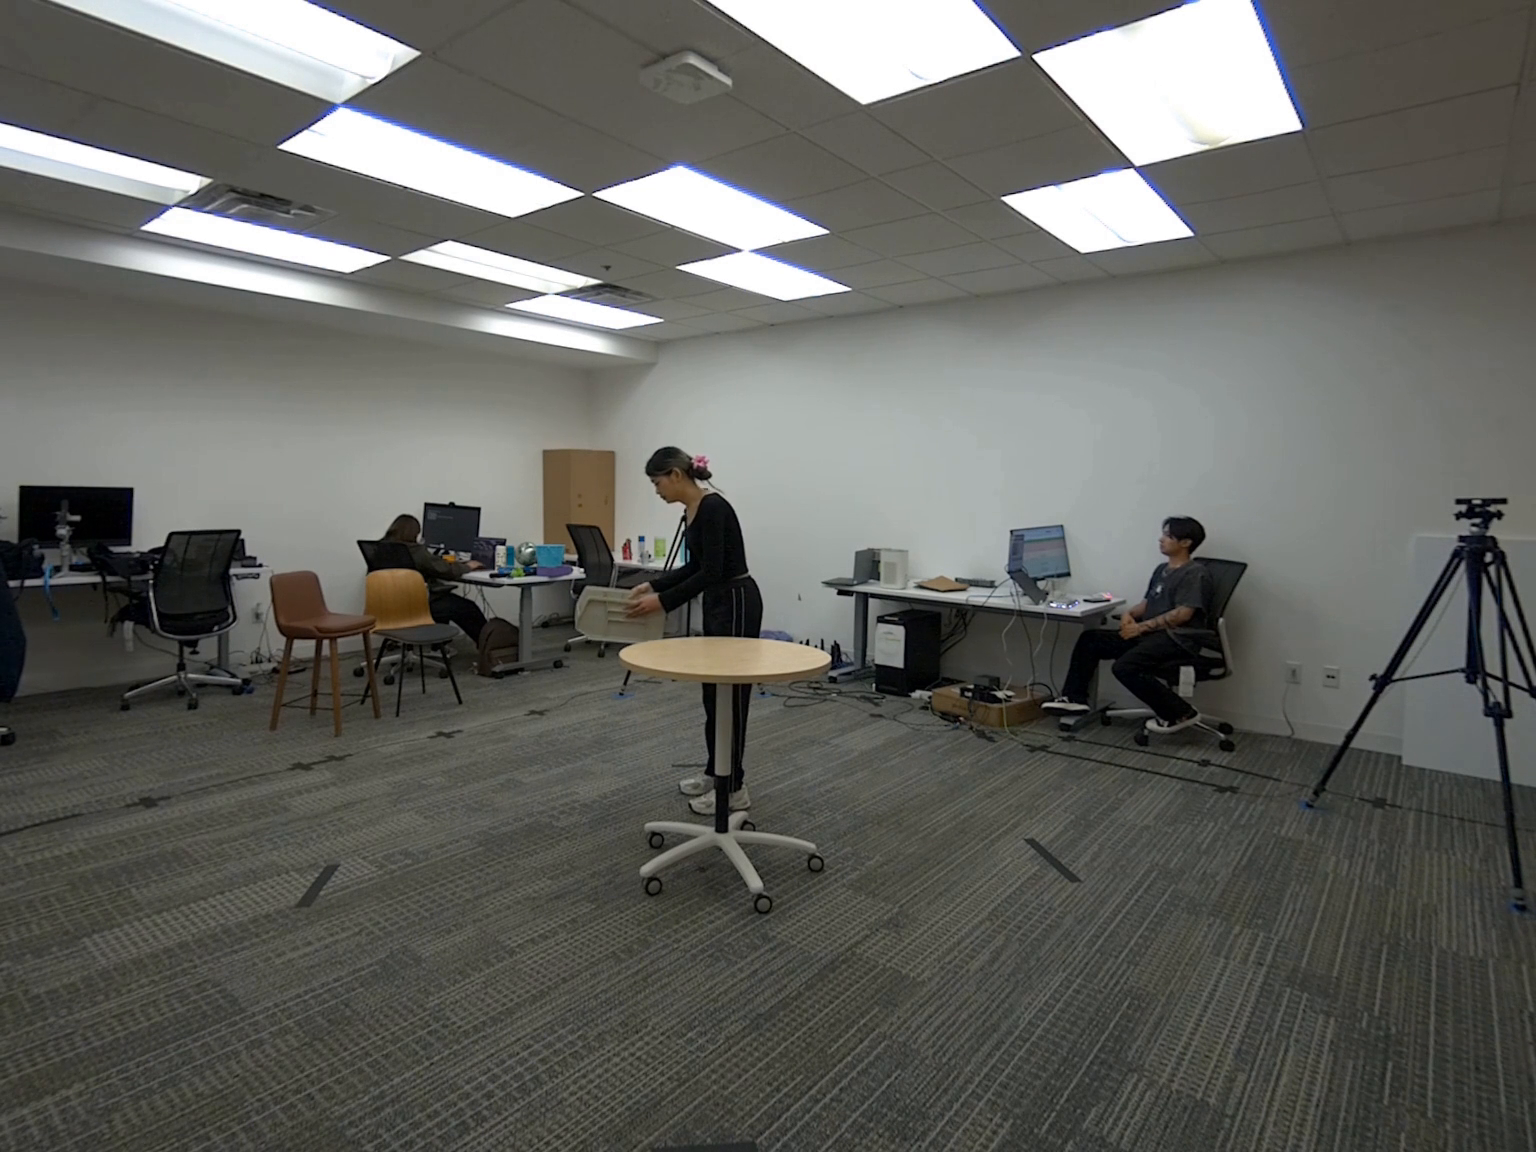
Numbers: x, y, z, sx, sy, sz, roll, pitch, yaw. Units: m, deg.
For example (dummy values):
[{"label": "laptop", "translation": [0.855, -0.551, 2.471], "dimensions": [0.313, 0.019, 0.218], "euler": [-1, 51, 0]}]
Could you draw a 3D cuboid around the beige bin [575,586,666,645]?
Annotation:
[{"label": "beige bin", "translation": [-0.666, 0.170, 3.747], "dimensions": [0.373, 0.189, 0.428], "euler": [5, 3, -11]}]
